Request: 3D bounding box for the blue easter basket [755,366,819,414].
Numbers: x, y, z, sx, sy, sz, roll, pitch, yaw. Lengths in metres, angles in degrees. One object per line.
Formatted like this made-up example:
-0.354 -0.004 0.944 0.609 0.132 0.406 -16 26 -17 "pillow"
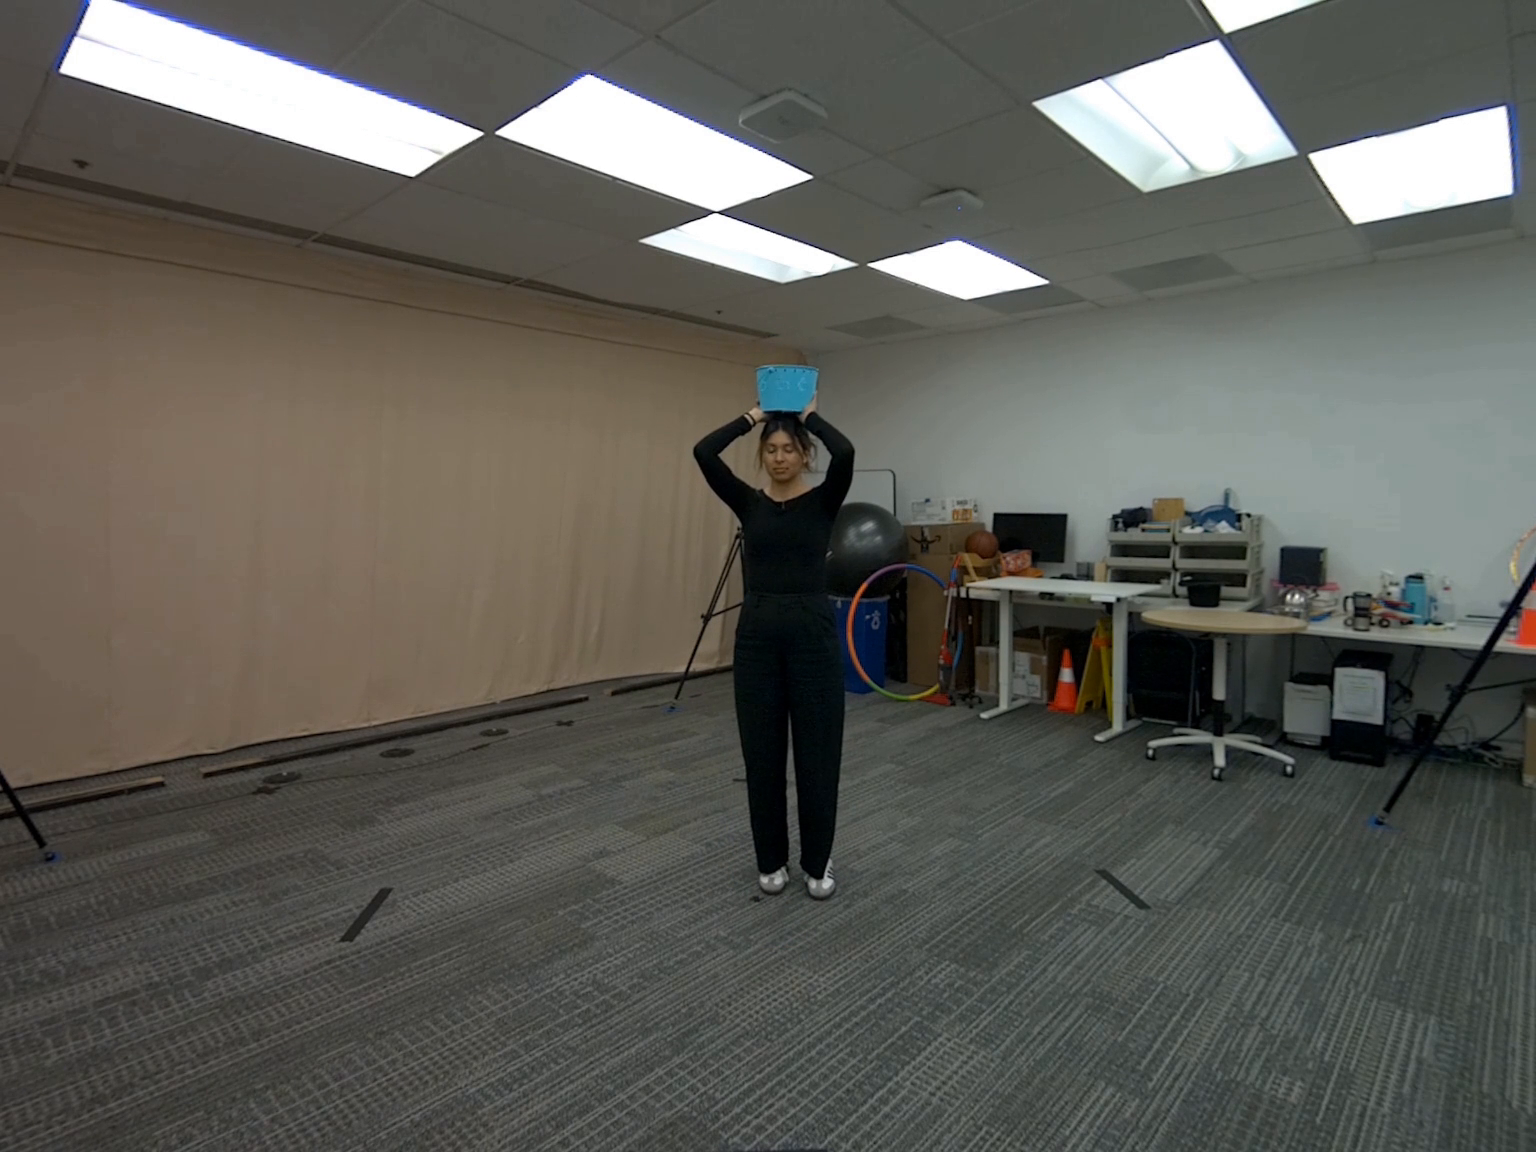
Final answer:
0.067 -0.660 3.032 0.243 0.155 0.245 4 6 -2 "blue easter basket"
